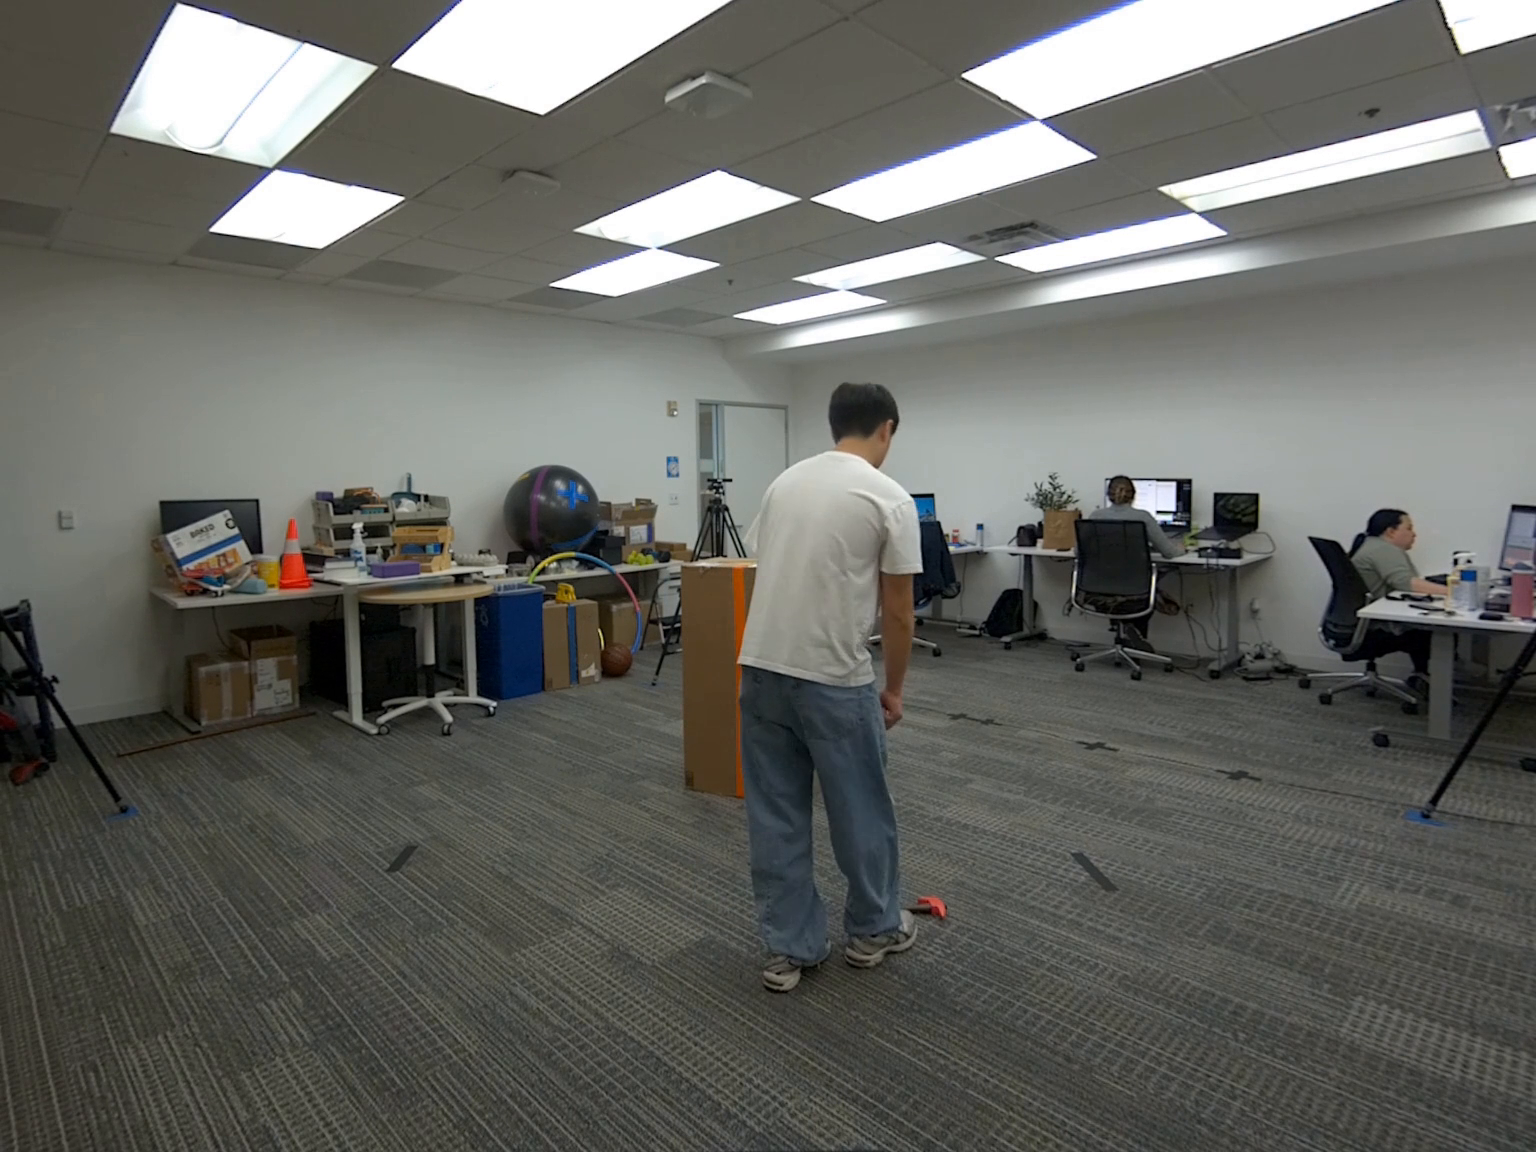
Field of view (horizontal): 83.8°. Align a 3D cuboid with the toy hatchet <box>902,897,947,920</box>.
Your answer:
[{"bbox_3d":[0.446,1.069,2.773,0.274,0.029,0.129,-1,5,17],"label":"toy hatchet"}]
